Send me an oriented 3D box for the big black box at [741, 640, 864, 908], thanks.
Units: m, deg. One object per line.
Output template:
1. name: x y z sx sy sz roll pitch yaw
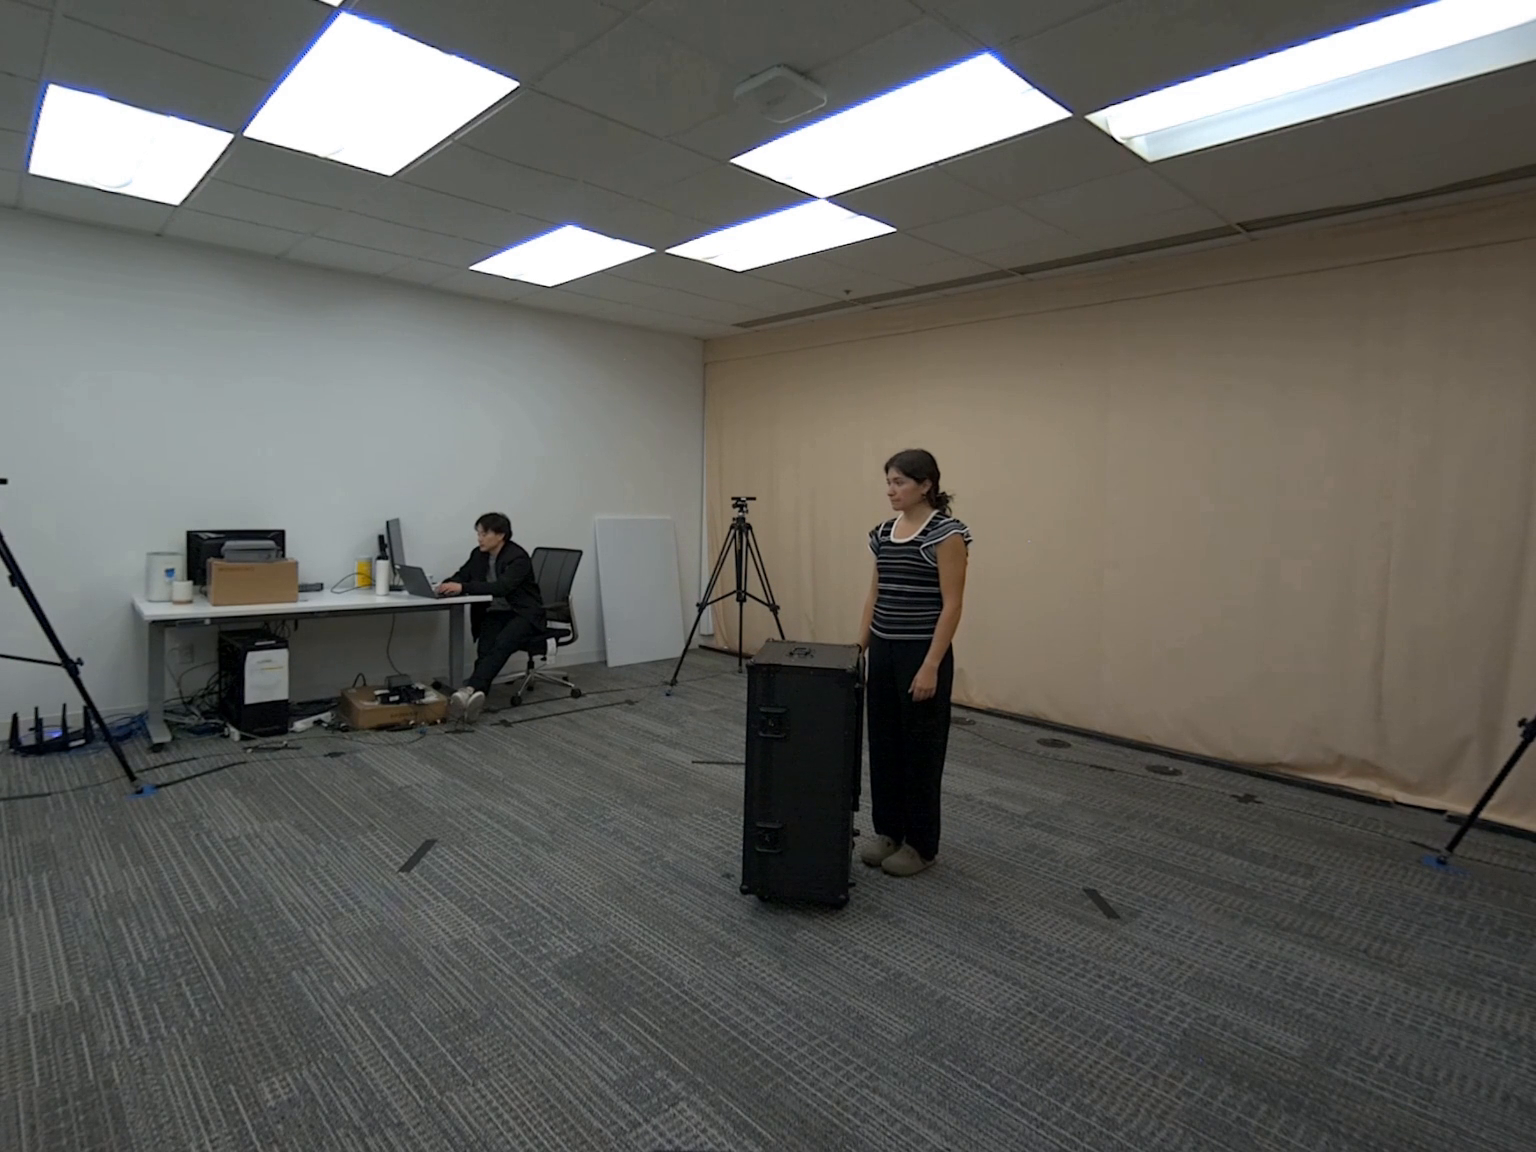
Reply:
1. big black box: 0.132 0.697 2.993 0.400 0.860 0.517 2 3 10
